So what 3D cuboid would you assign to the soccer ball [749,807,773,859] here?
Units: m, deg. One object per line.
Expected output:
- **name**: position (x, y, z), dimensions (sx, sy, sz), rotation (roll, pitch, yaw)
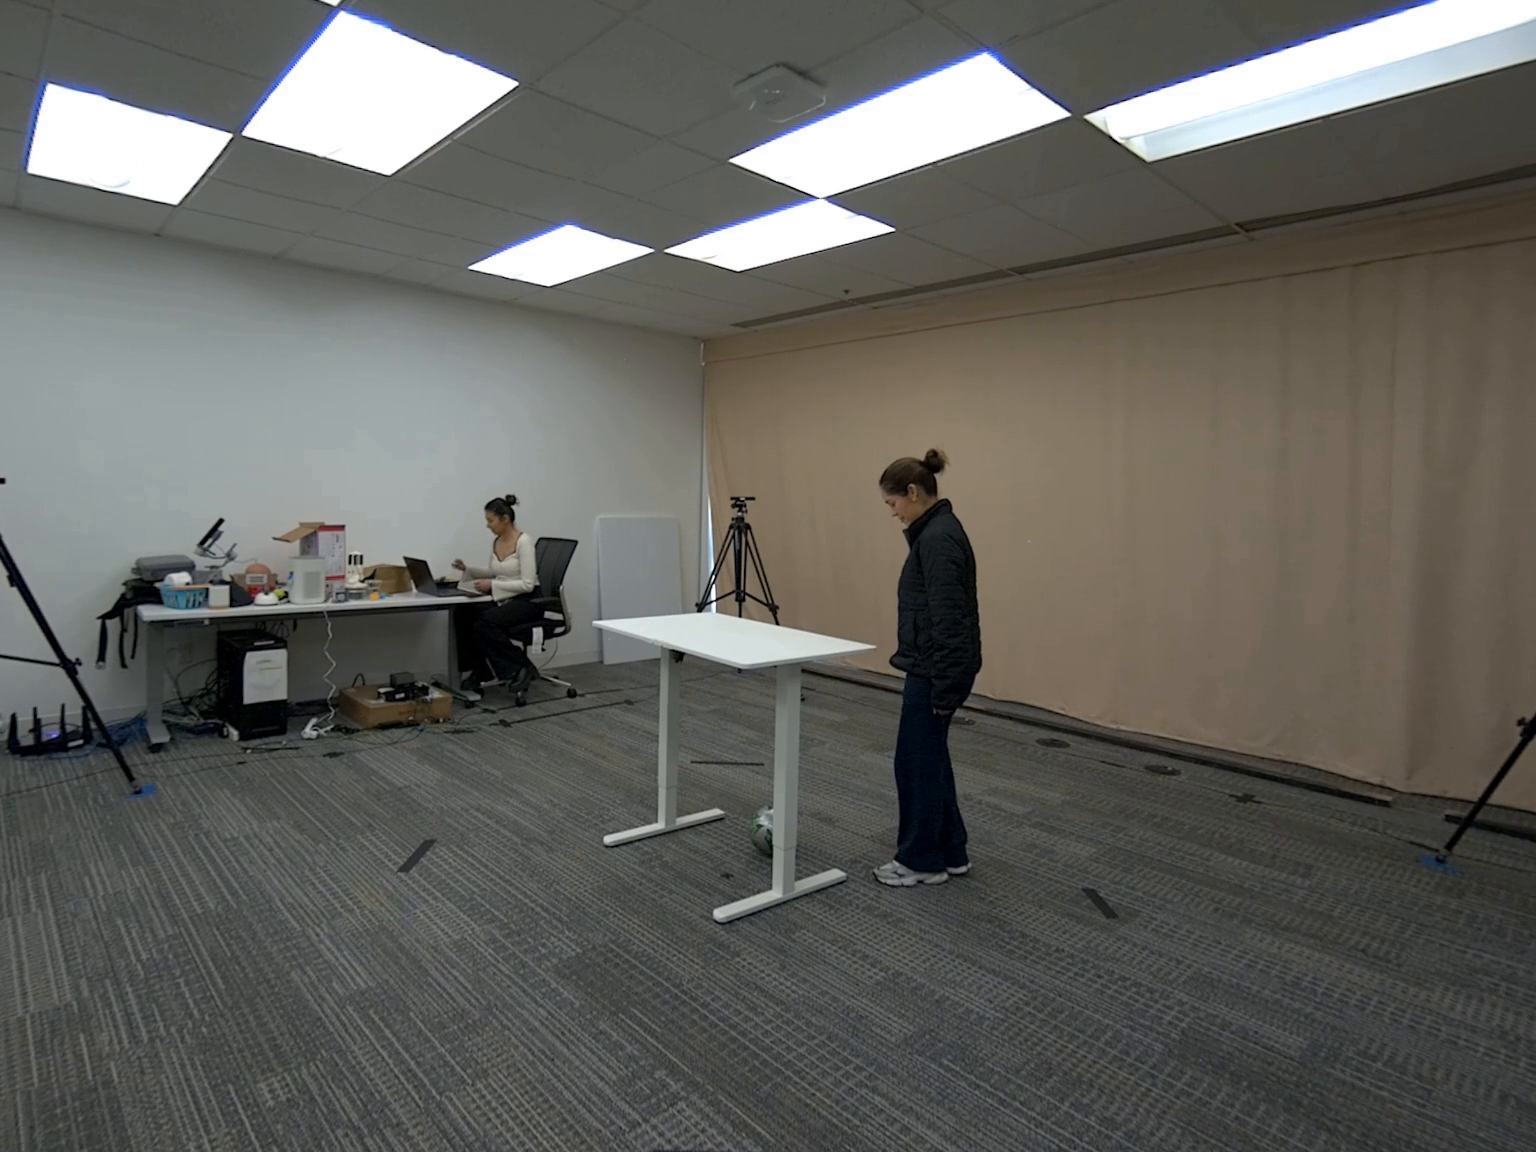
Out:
- **soccer ball**: position (0.017, 0.992, 3.298), dimensions (0.187, 0.187, 0.188), rotation (1, 4, -1)
